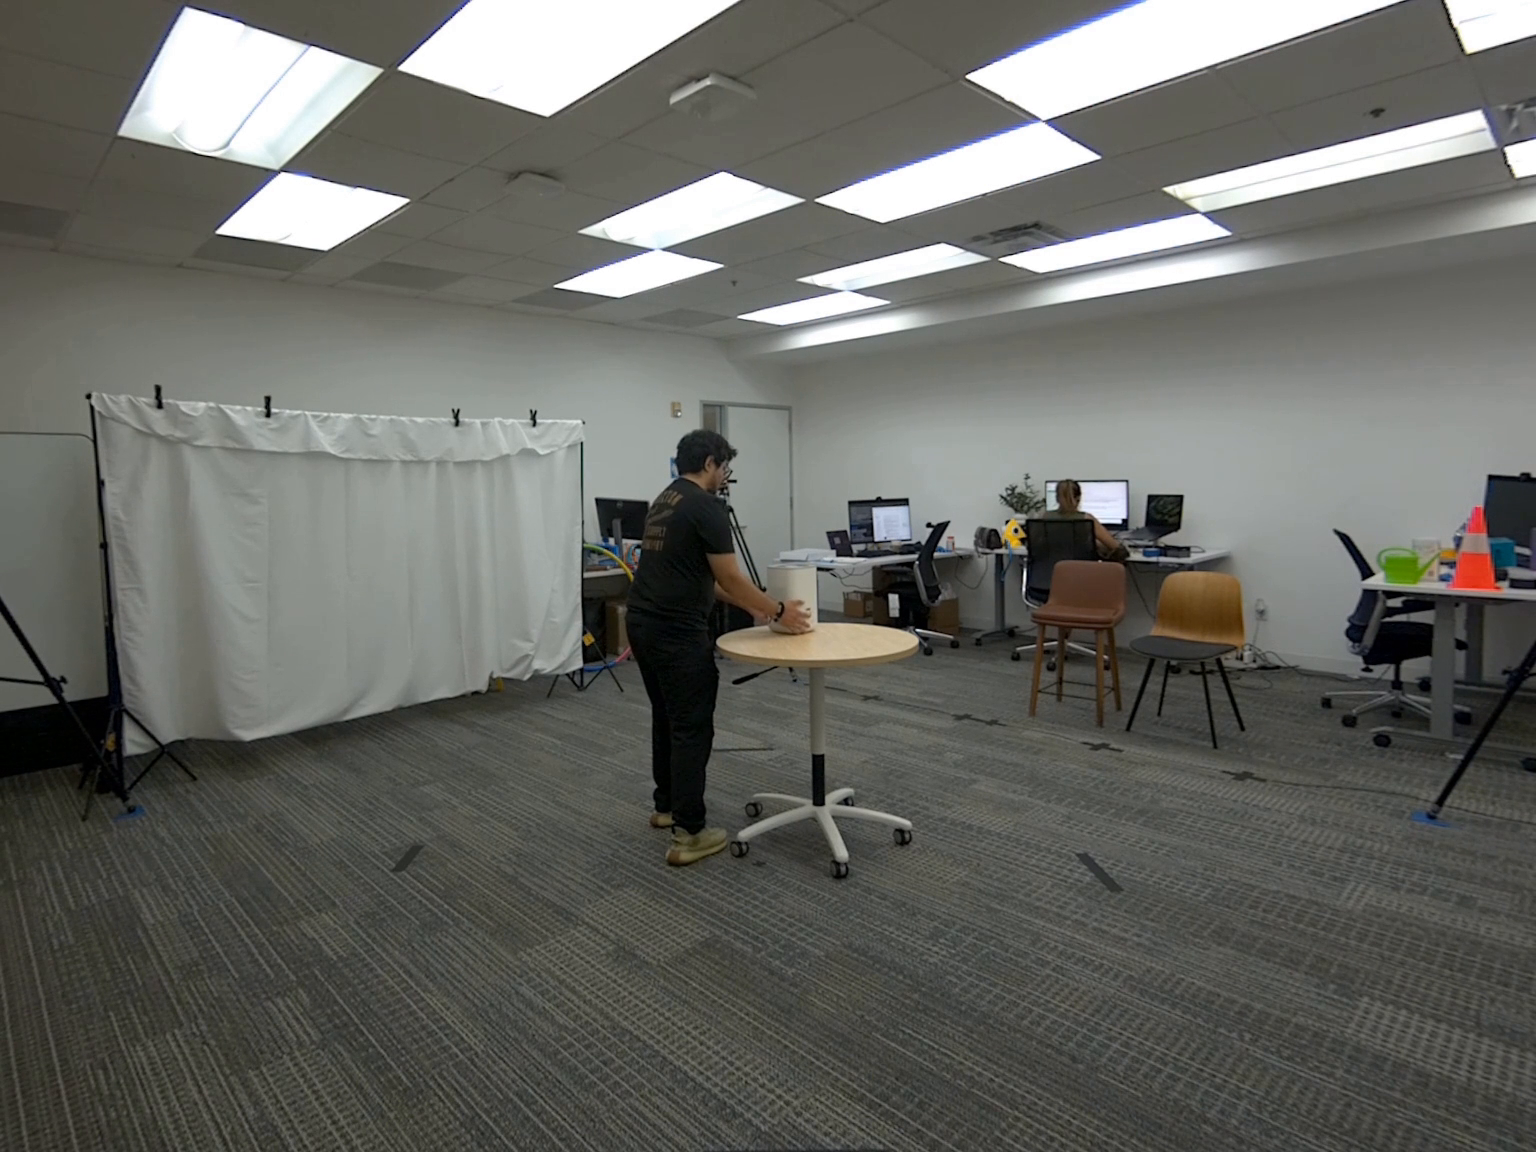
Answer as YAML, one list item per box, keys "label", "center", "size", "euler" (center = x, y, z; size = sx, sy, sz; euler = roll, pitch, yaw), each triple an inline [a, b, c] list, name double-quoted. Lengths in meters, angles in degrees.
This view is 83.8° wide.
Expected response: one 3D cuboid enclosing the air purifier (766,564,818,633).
- label: "air purifier"
  center: [0.102, 0.087, 3.463]
  size: [0.166, 0.265, 0.177]
  euler: [-2, 3, -43]
